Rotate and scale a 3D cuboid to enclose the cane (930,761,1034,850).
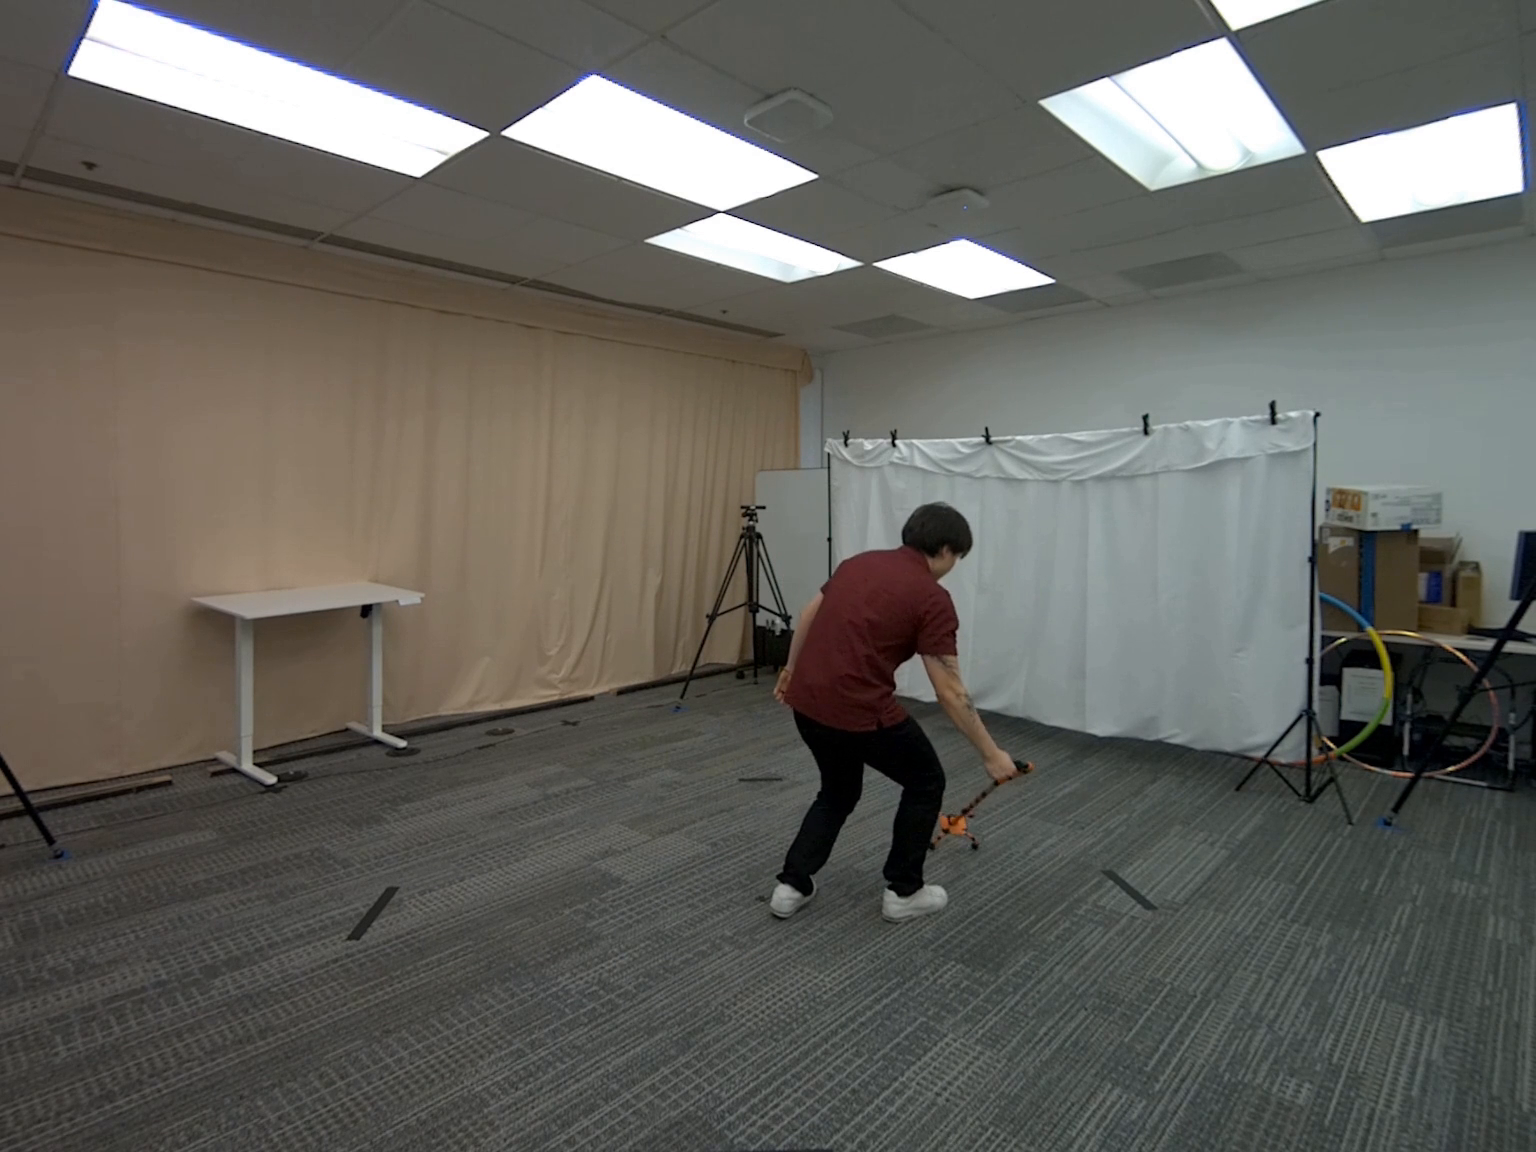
[{"bbox_3d":[0.768,0.819,3.064,0.206,0.154,0.895,-1,-28,-4],"label":"cane"}]
